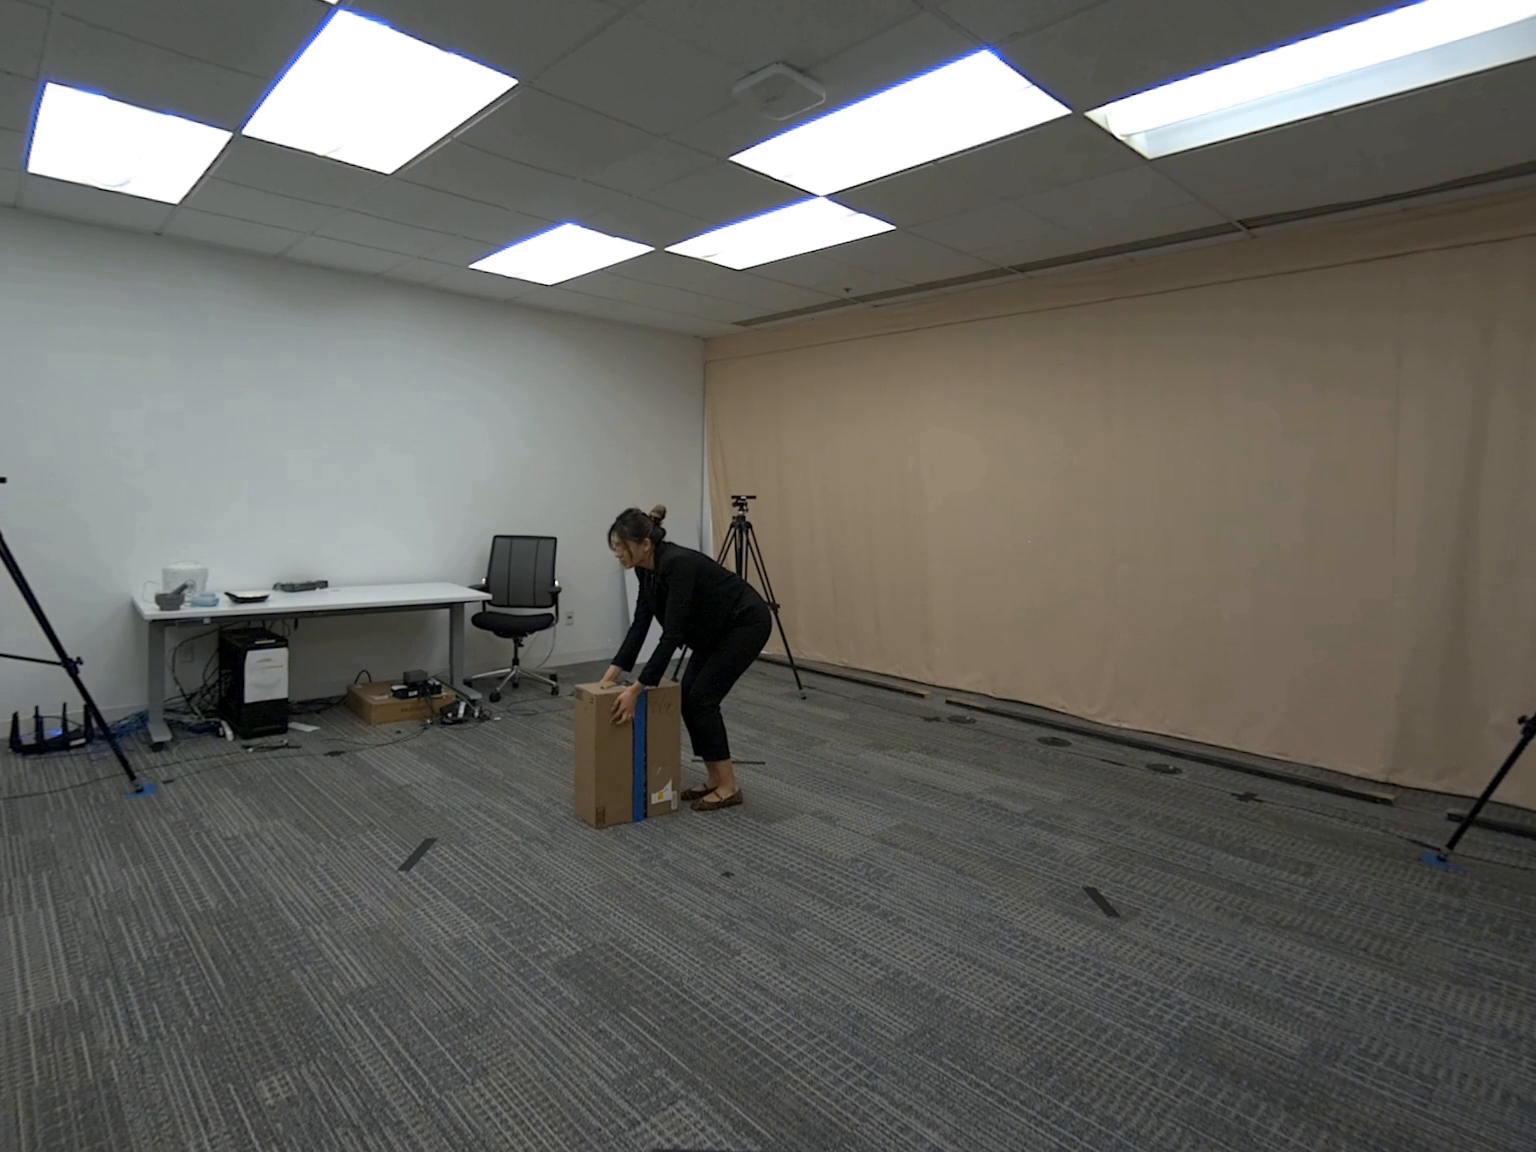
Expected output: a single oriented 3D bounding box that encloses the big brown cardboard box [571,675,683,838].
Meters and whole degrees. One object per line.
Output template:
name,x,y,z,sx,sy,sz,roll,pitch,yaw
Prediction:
big brown cardboard box,-0.612,0.759,3.674,0.409,0.587,0.239,-2,4,-35
